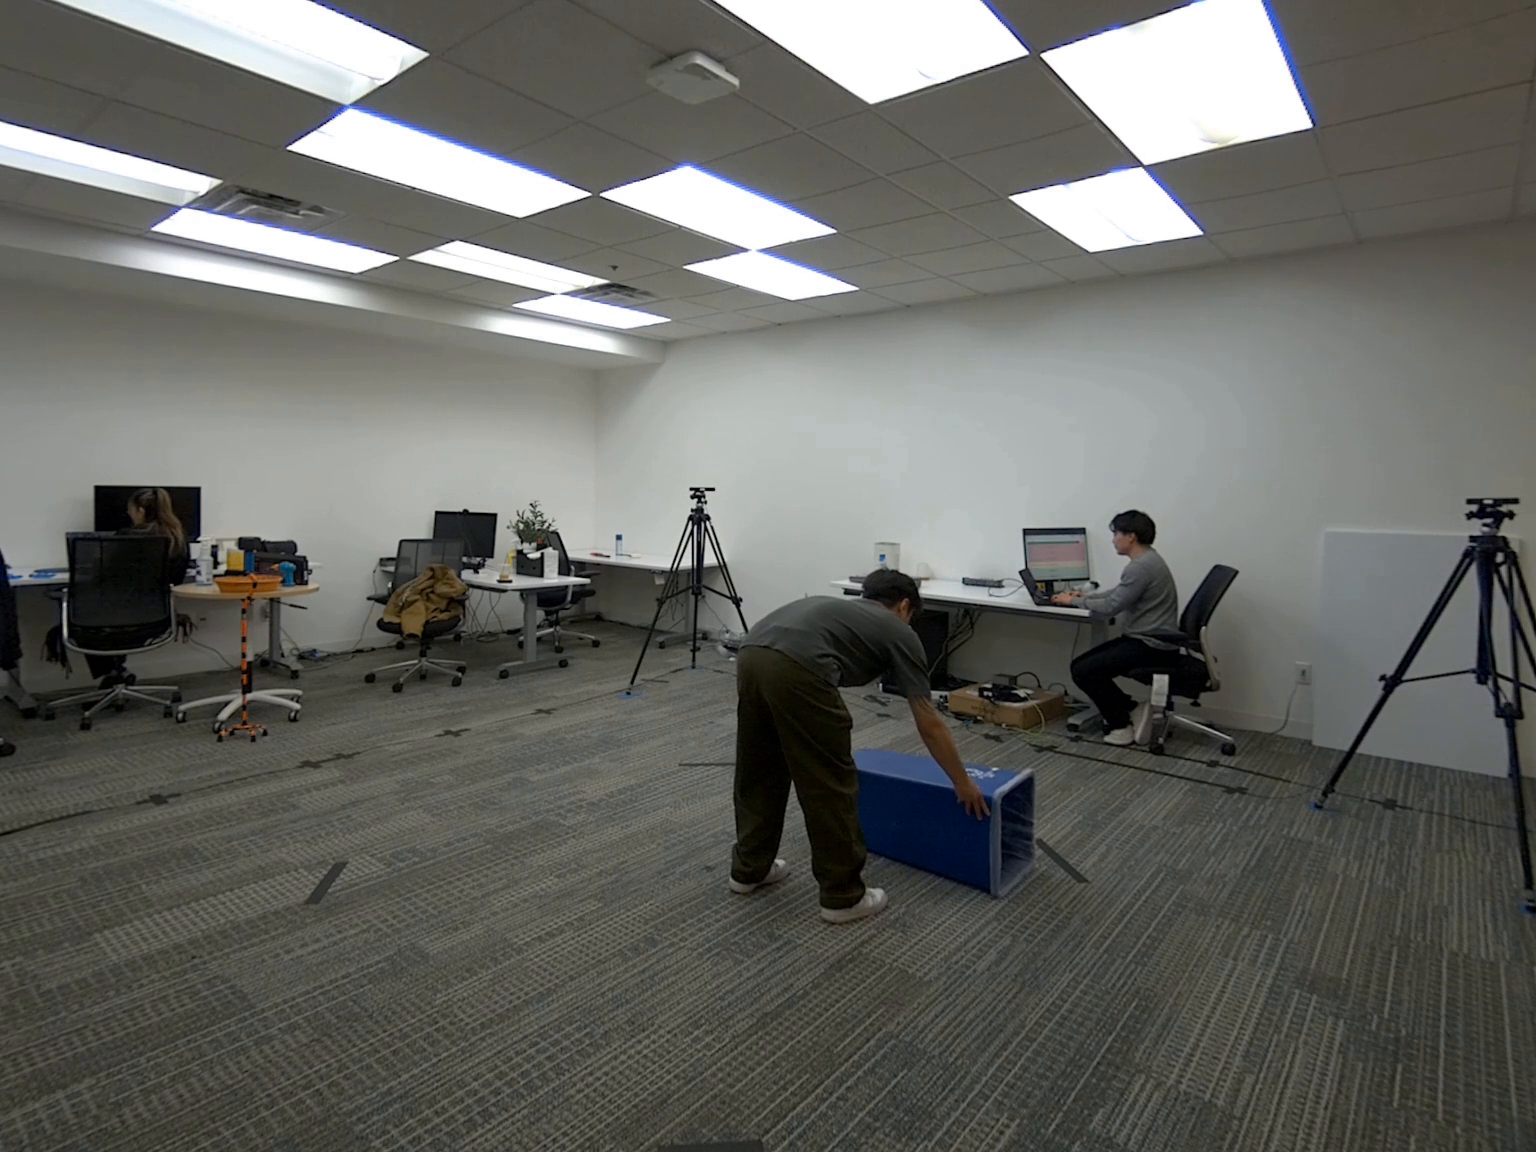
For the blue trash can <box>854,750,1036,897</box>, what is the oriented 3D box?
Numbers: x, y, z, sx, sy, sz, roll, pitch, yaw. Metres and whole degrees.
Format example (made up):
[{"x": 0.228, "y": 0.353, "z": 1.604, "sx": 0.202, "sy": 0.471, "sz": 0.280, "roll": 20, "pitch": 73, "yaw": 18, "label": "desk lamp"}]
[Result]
[{"x": 0.606, "y": 0.893, "z": 3.283, "sx": 0.737, "sy": 0.373, "sz": 0.367, "roll": 3, "pitch": 5, "yaw": 38, "label": "blue trash can"}]
